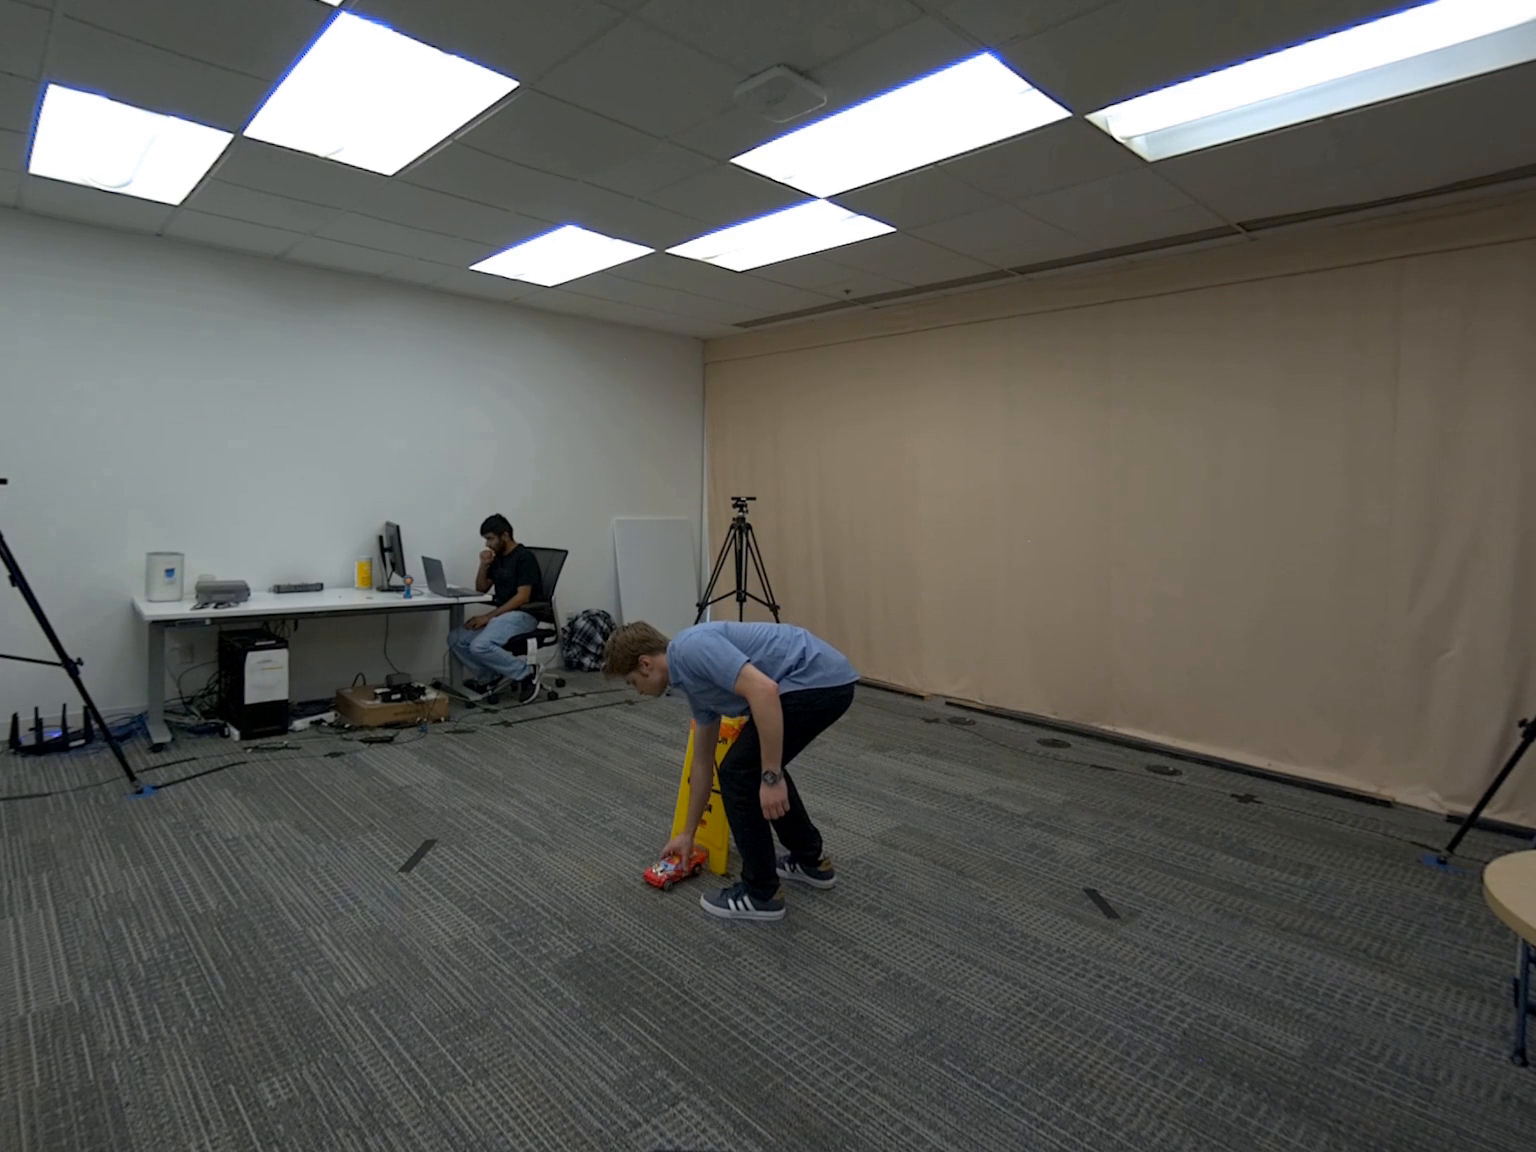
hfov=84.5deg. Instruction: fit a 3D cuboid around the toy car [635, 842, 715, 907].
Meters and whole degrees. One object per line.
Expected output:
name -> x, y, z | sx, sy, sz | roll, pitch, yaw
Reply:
toy car -> -0.337, 1.071, 3.071 | 0.133, 0.082, 0.251 | 3, 18, 45
